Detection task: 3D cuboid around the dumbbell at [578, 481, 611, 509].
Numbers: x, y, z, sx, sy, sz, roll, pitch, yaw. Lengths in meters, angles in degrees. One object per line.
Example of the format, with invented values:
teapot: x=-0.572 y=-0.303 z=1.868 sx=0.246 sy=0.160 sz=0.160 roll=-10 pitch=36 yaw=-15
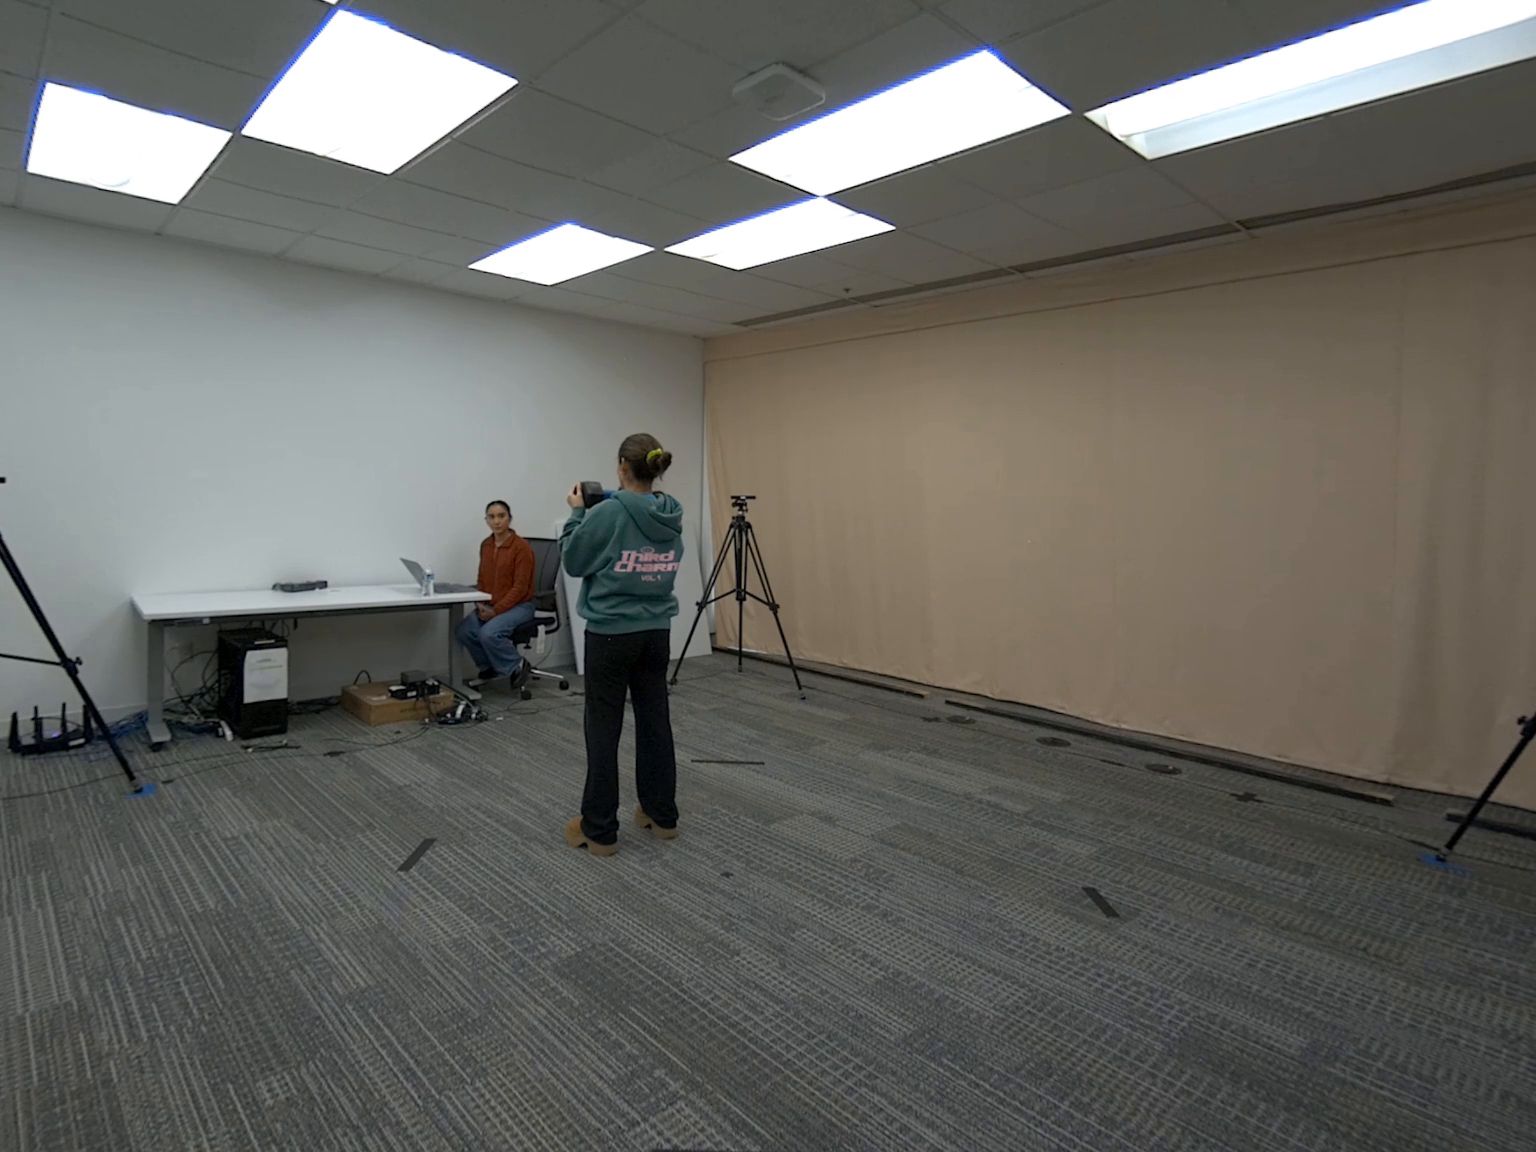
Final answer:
dumbbell: x=-0.647 y=-0.318 z=3.440 sx=0.286 sy=0.125 sz=0.109 roll=1 pitch=-33 yaw=-48
